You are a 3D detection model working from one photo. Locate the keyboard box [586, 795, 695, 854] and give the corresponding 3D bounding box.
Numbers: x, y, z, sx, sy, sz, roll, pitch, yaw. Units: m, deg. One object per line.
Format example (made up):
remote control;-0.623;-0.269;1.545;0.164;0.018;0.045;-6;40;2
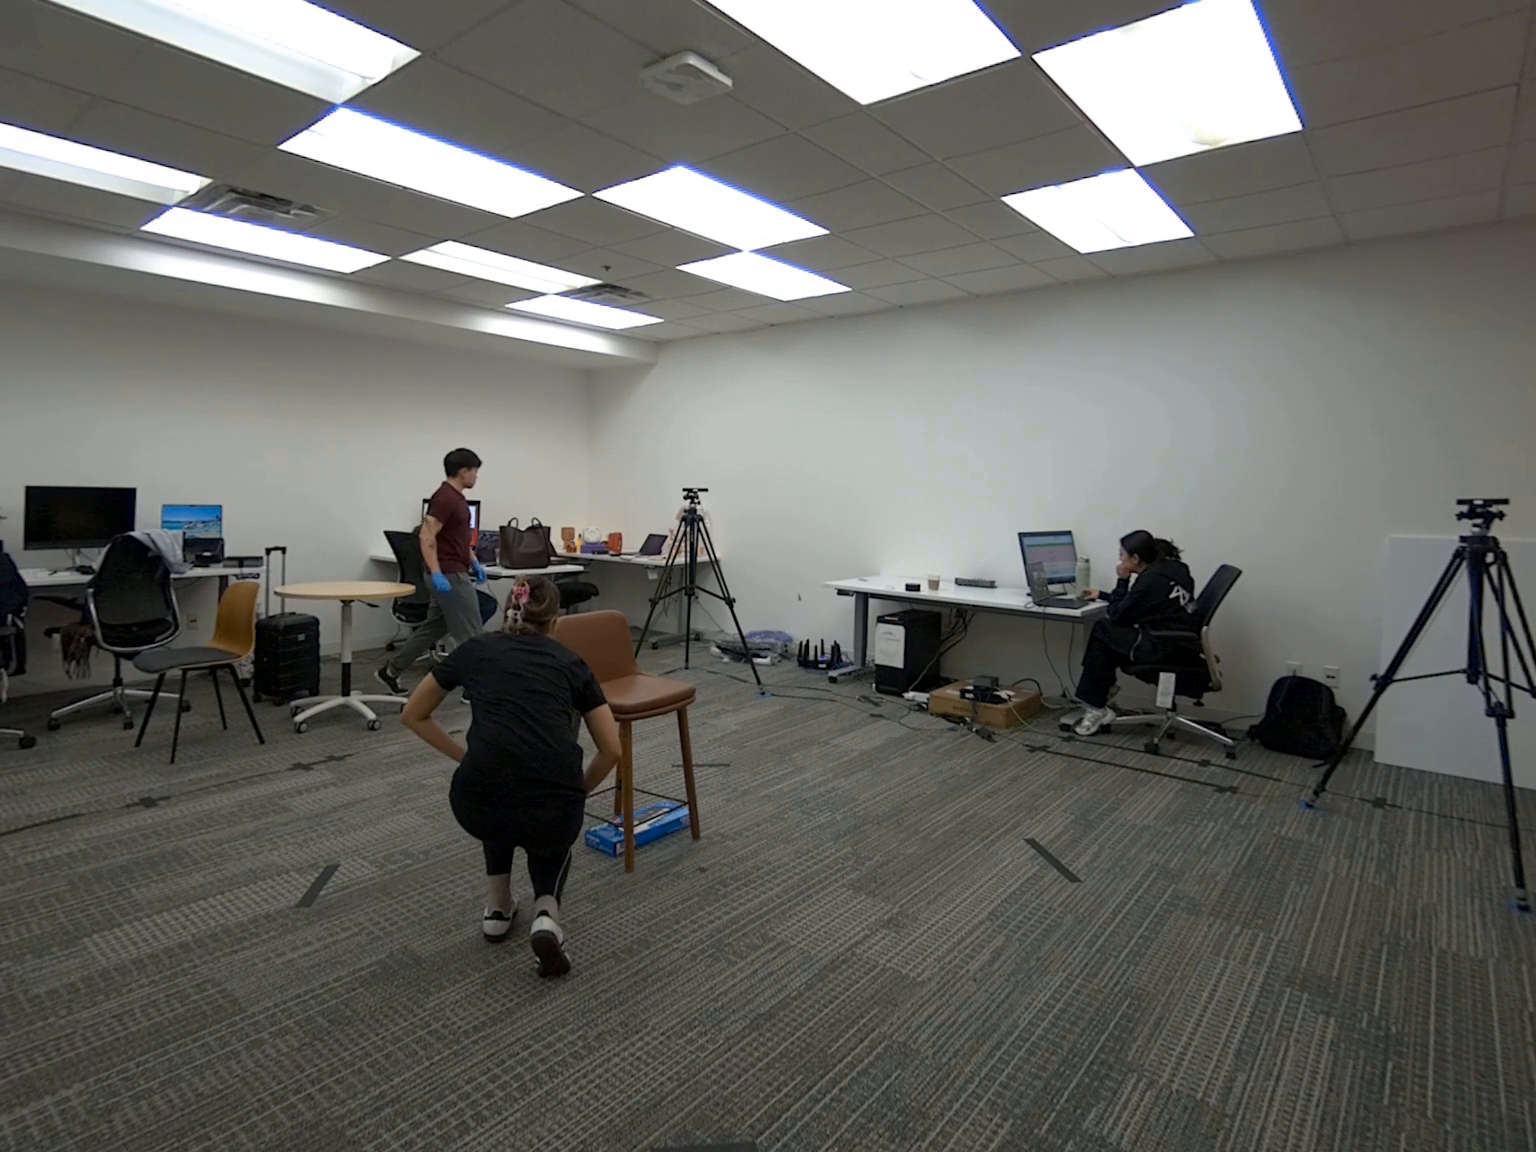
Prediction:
keyboard box;-0.513;0.999;3.407;0.182;0.059;0.424;6;8;39
